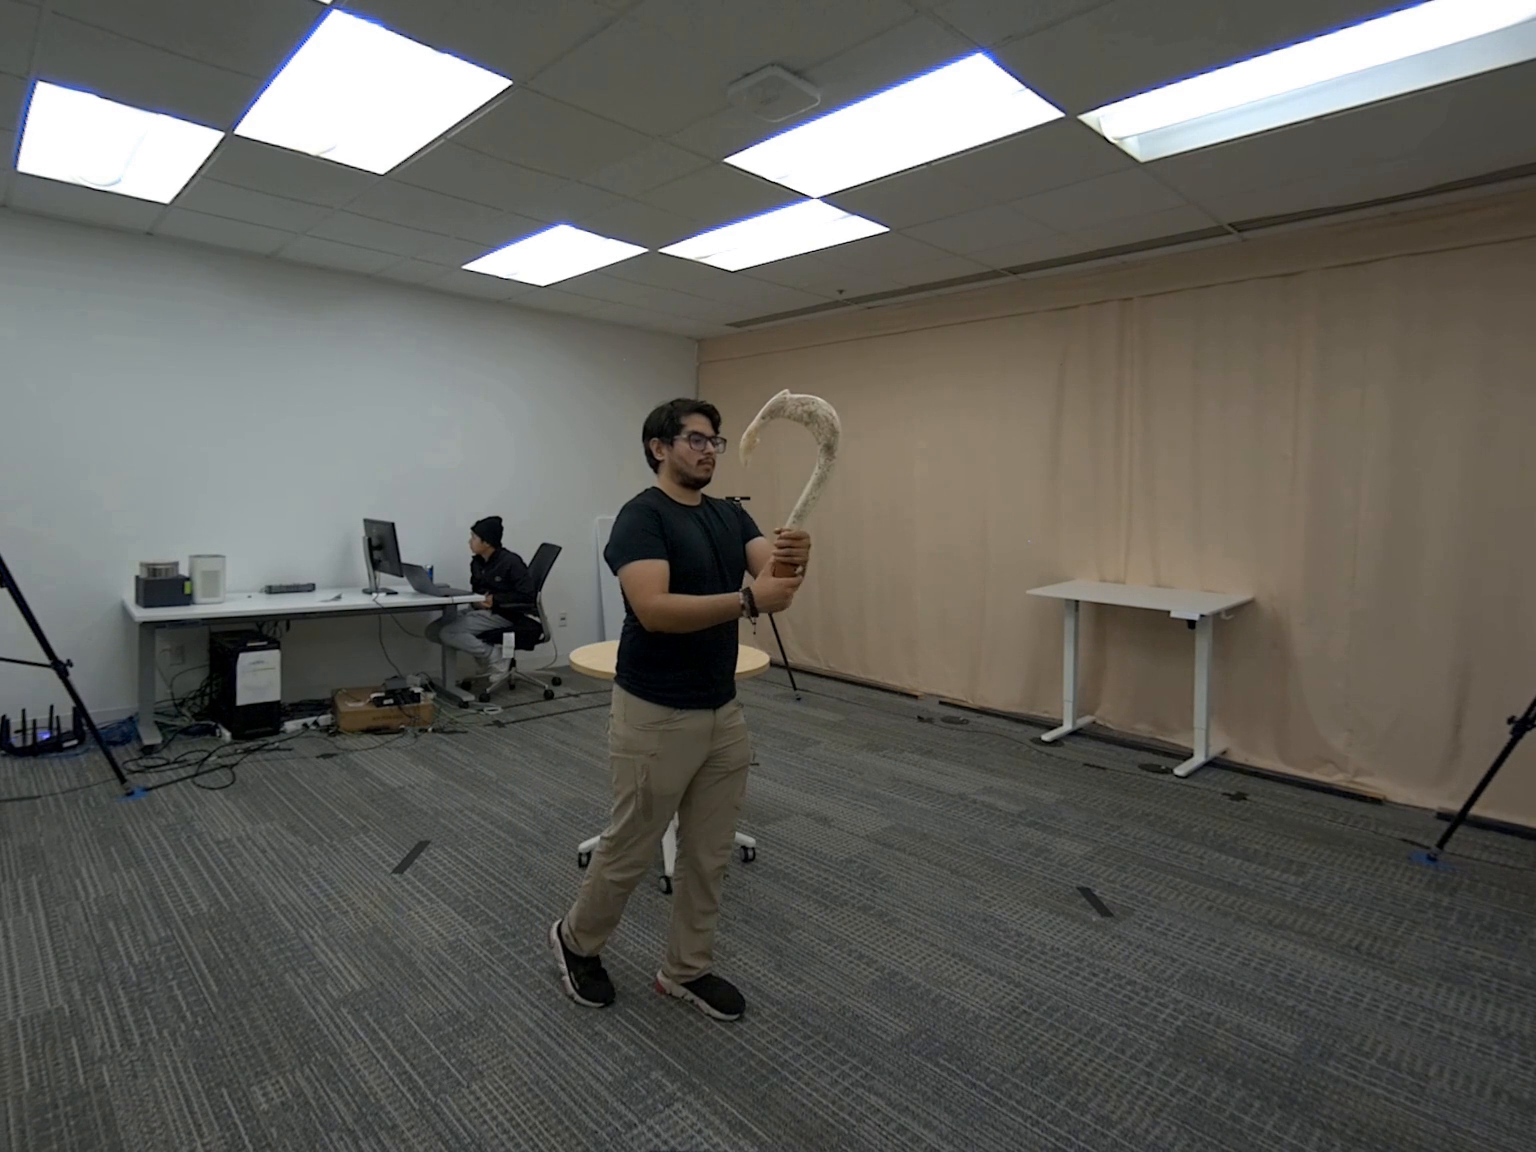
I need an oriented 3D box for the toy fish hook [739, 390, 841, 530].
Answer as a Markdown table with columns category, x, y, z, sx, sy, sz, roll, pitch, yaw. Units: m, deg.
| category | x | y | z | sx | sy | sz | roll | pitch | yaw |
| --- | --- | --- | --- | --- | --- | --- | --- | --- | --- |
| toy fish hook | 0.013 | -0.168 | 1.944 | 0.228 | 0.505 | 0.048 | 17 | 7 | 14 |
